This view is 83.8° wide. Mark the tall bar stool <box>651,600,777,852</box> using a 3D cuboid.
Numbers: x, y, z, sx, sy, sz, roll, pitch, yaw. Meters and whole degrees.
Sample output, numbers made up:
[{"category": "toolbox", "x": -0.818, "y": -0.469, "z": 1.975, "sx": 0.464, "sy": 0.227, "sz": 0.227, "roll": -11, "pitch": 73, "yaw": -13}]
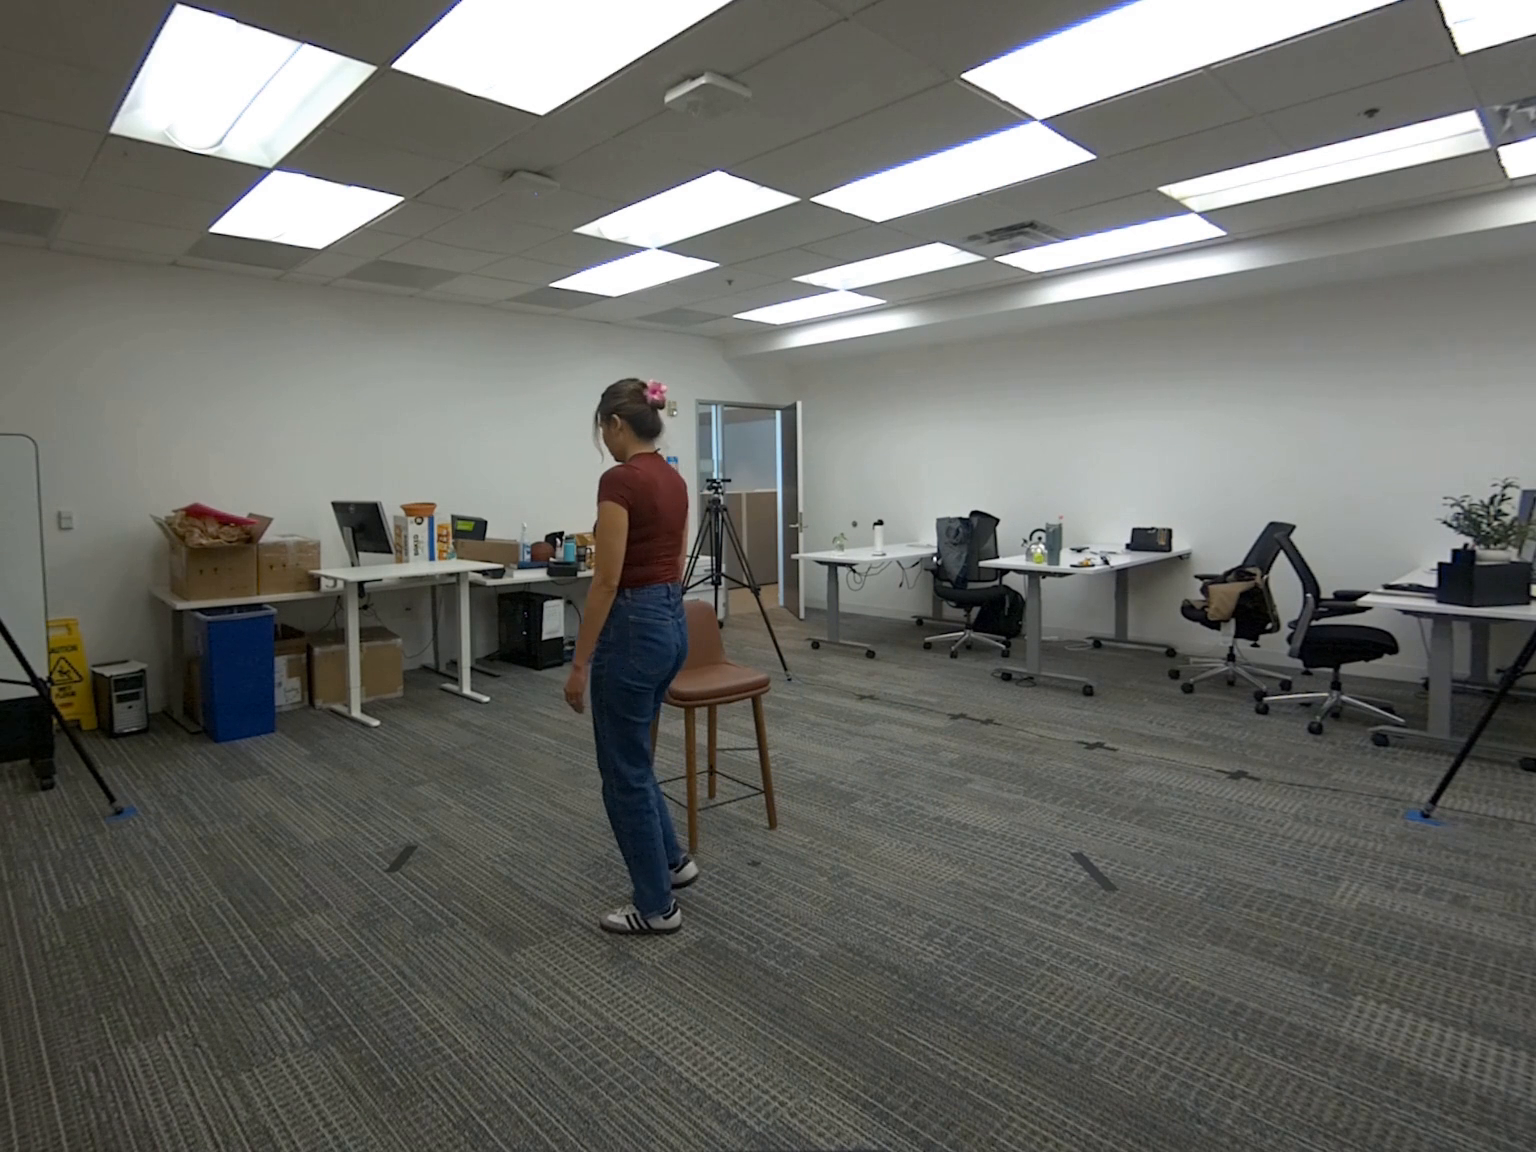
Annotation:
[{"category": "tall bar stool", "x": -0.268, "y": 0.572, "z": 3.466, "sx": 0.445, "sy": 0.888, "sz": 0.481, "roll": -3, "pitch": 2, "yaw": -36}]
